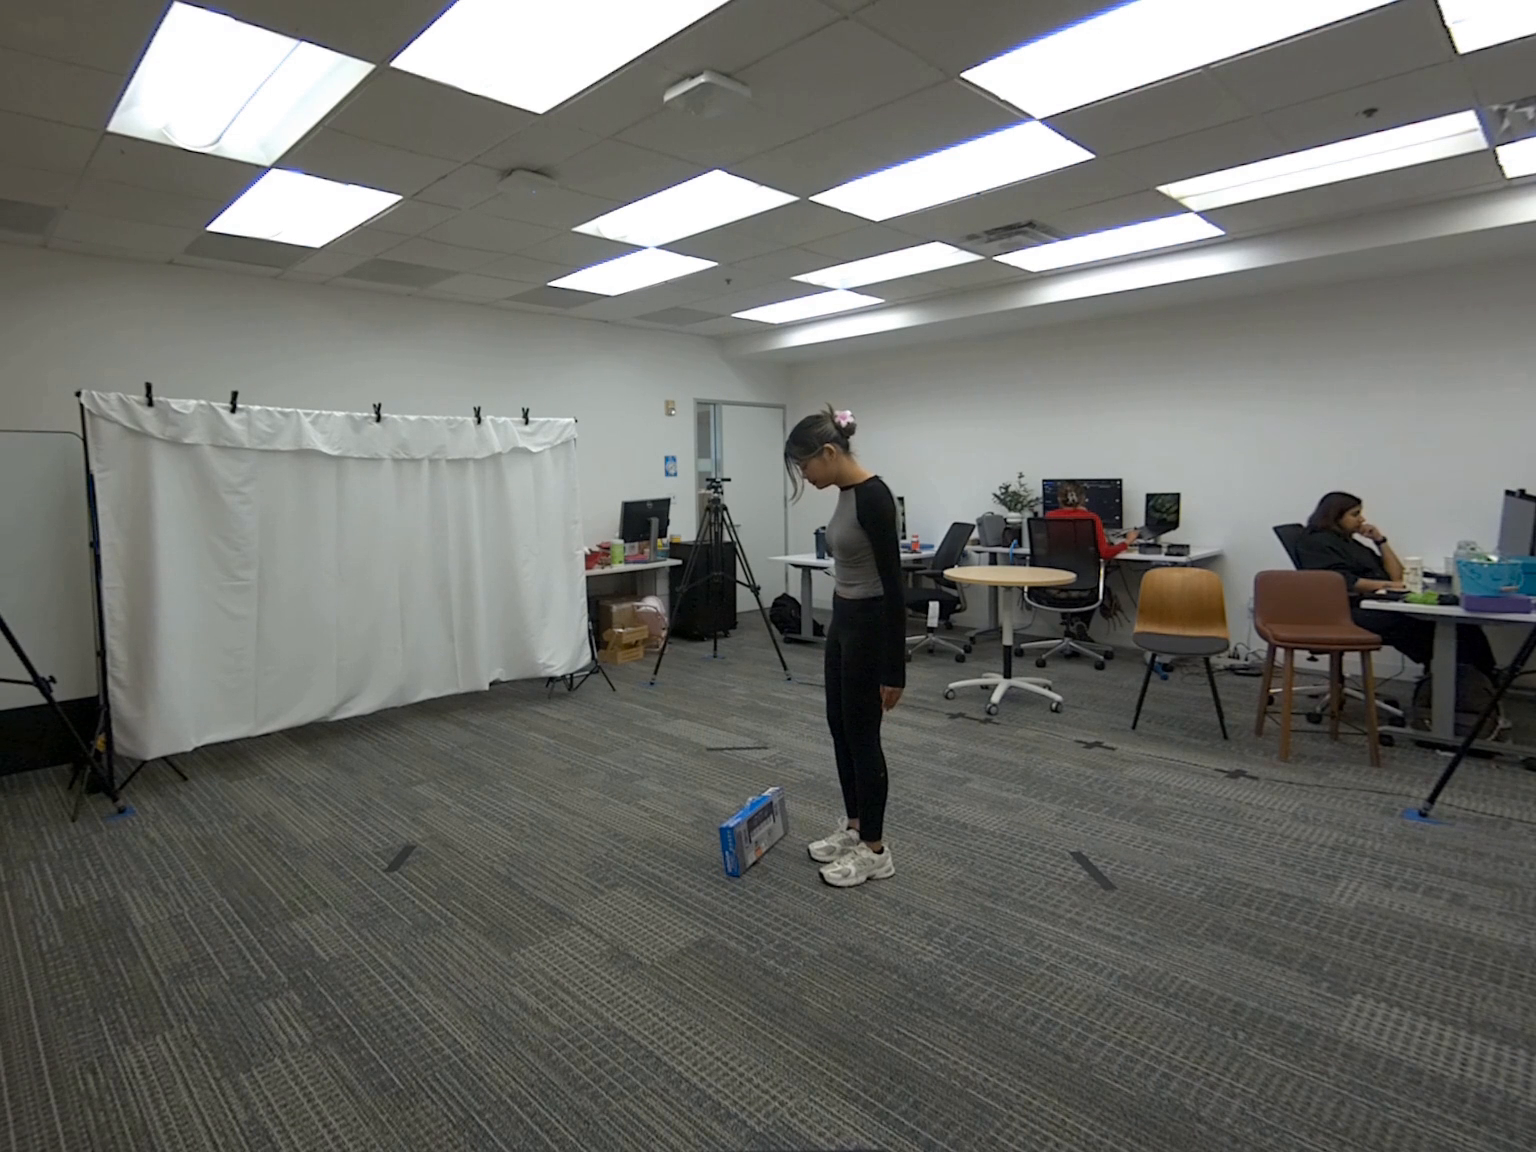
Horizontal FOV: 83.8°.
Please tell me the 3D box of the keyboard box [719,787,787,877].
[{"bbox_3d":[-0.042,0.946,3.191,0.060,0.176,0.428,-8,2,25],"label":"keyboard box"}]
